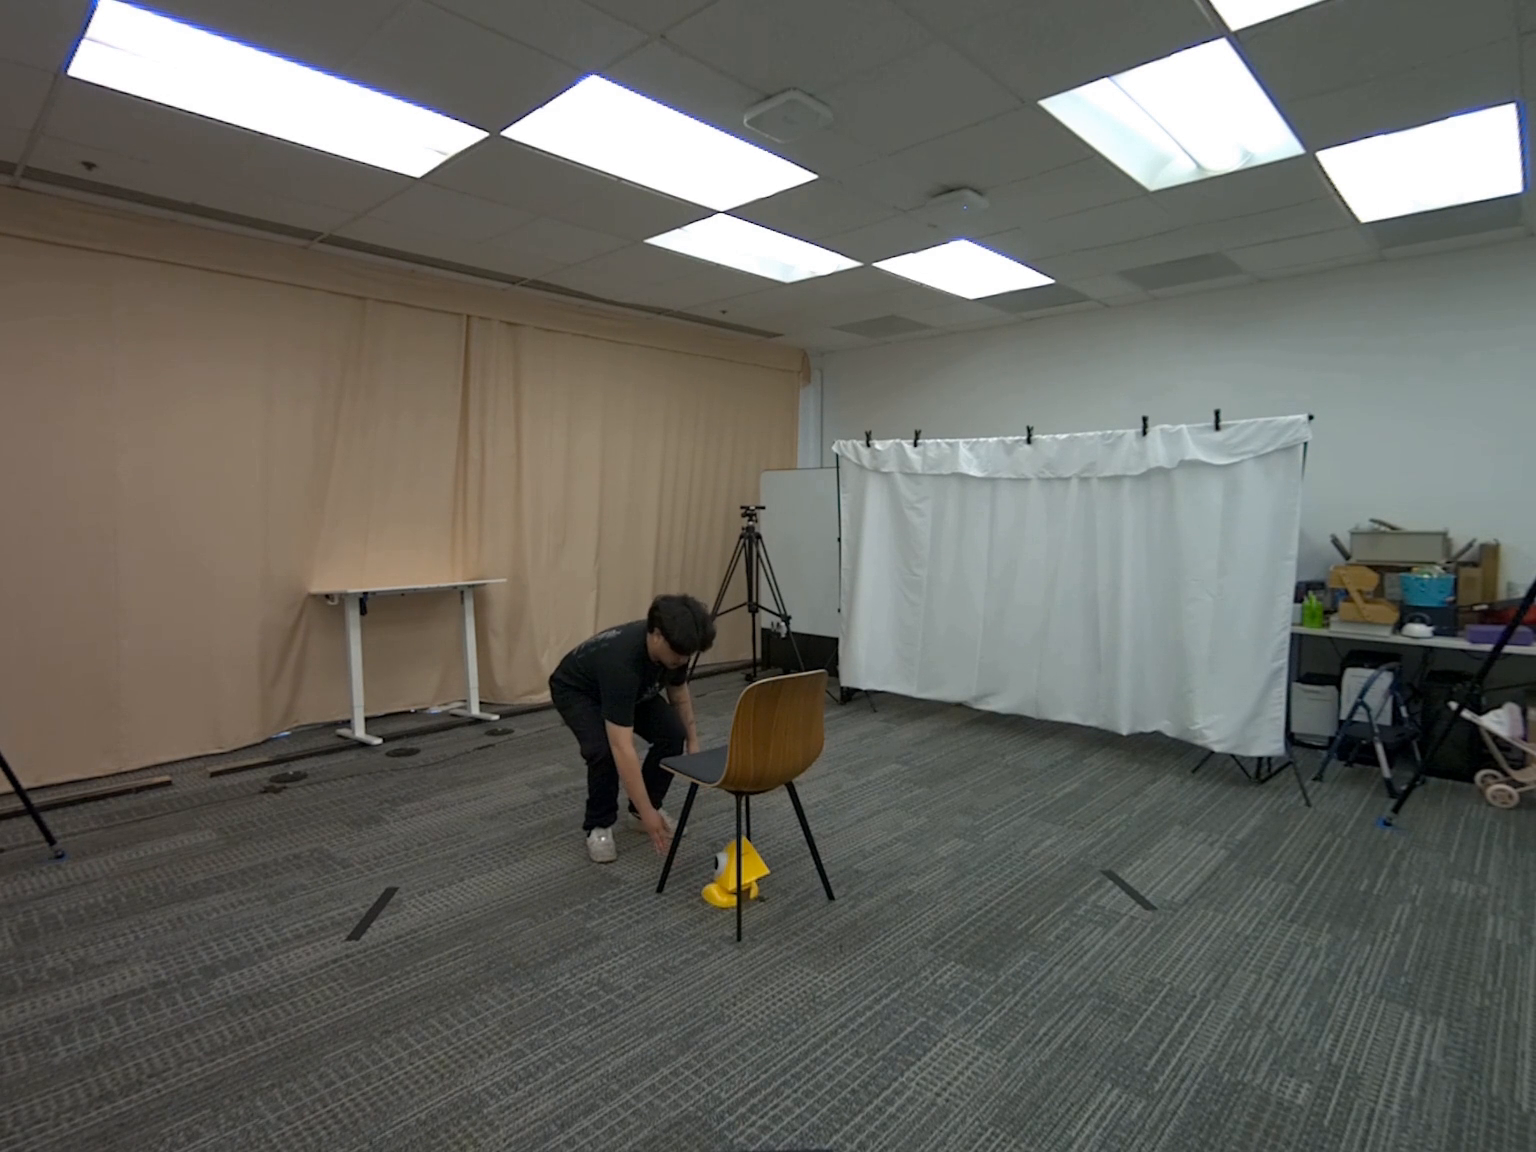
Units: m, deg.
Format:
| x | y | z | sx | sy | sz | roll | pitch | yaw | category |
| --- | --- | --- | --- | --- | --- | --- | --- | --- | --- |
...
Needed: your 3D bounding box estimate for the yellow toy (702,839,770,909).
| x | y | z | sx | sy | sz | roll | pitch | yaw | category |
| --- | --- | --- | --- | --- | --- | --- | --- | --- | --- |
| -0.128 | 1.033 | 3.008 | 0.198 | 0.230 | 0.199 | -1 | 3 | -44 | yellow toy |
